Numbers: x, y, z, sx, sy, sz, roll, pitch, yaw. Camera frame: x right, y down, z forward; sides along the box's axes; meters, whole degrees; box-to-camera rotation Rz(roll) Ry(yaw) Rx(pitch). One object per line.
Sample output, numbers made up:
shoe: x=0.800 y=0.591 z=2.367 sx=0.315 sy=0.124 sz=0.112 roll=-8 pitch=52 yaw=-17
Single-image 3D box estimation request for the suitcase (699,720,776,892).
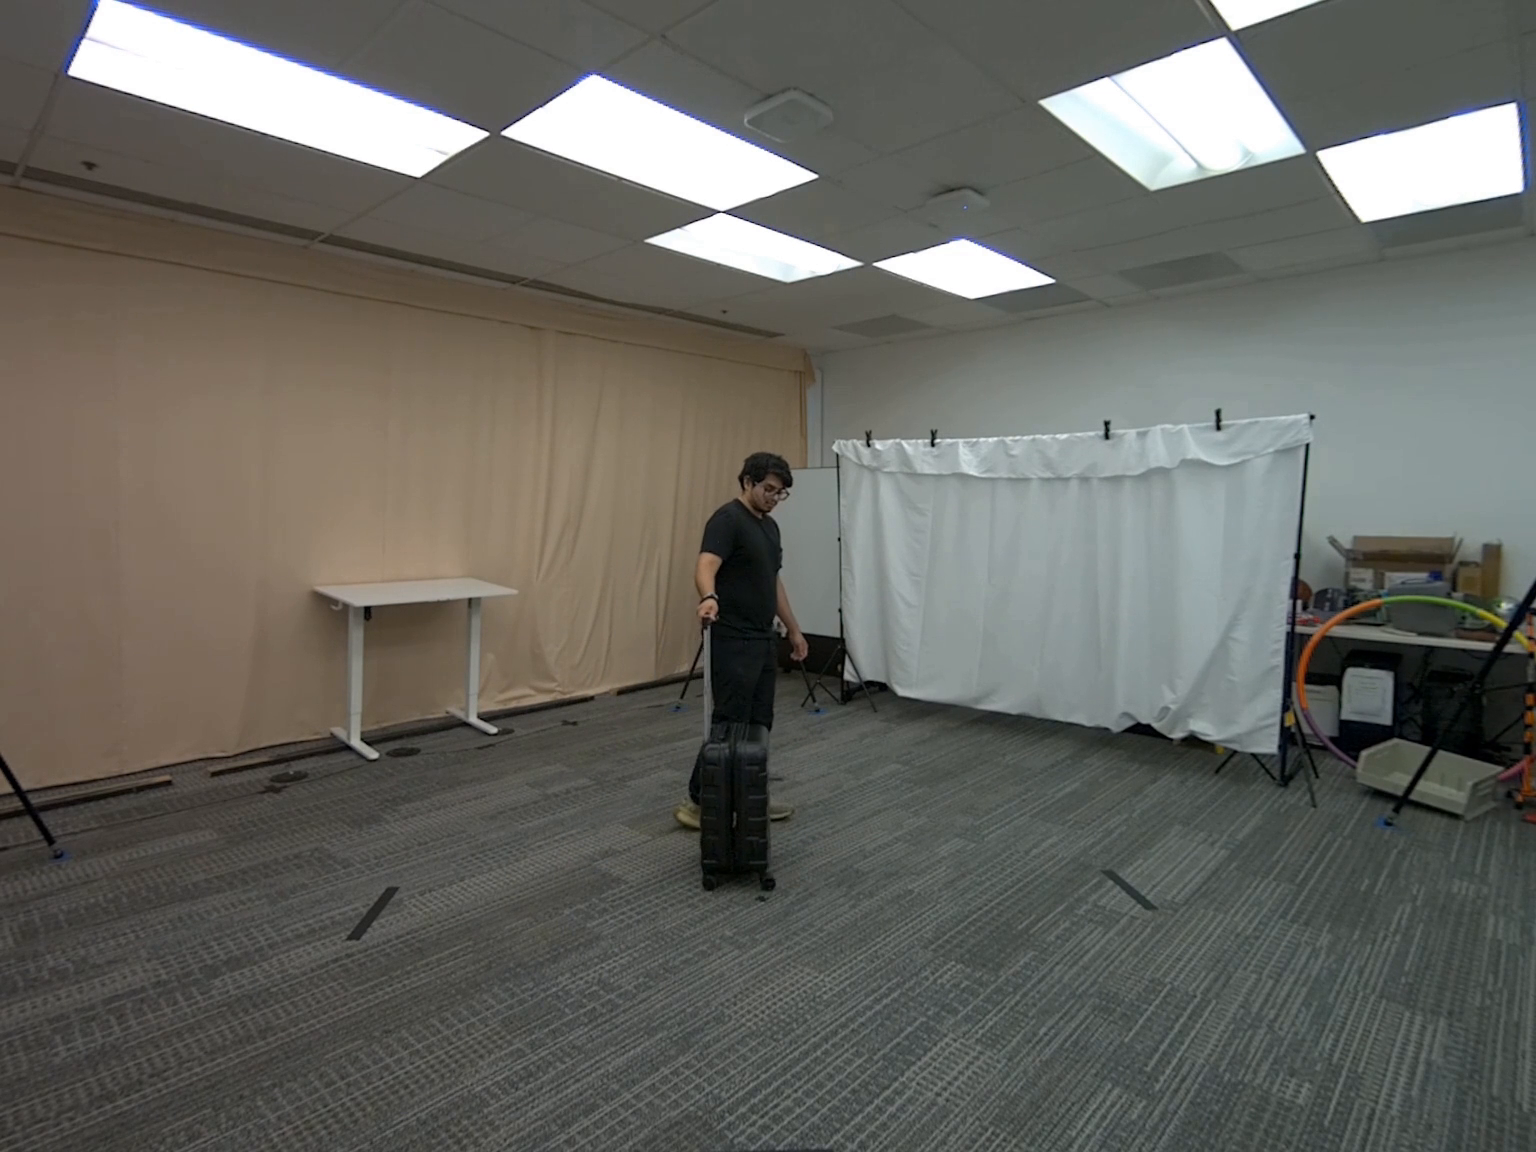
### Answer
suitcase: x=-0.121 y=0.643 z=3.192 sx=0.257 sy=0.977 sz=0.385 roll=1 pitch=2 yaw=-2
